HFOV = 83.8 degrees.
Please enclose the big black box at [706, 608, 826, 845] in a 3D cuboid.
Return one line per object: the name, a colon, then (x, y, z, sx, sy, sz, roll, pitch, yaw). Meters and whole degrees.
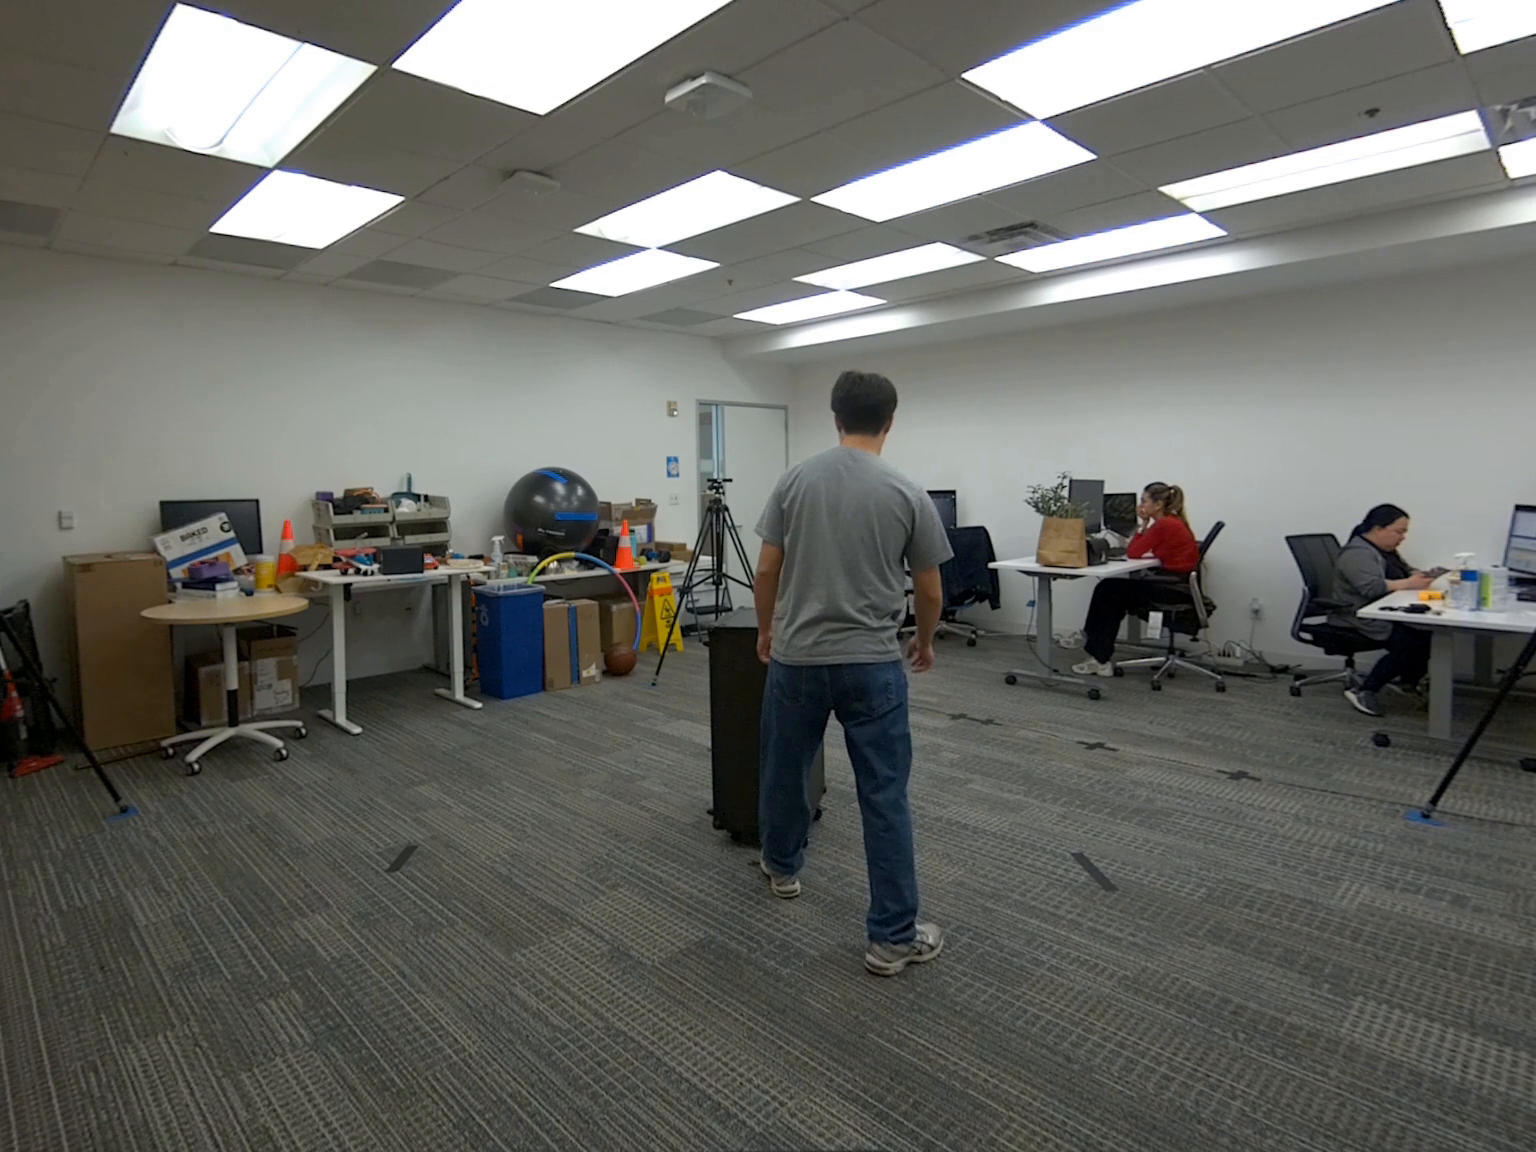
big black box: (0.000, 0.586, 3.401, 0.402, 0.859, 0.515, -1, 4, 15)
